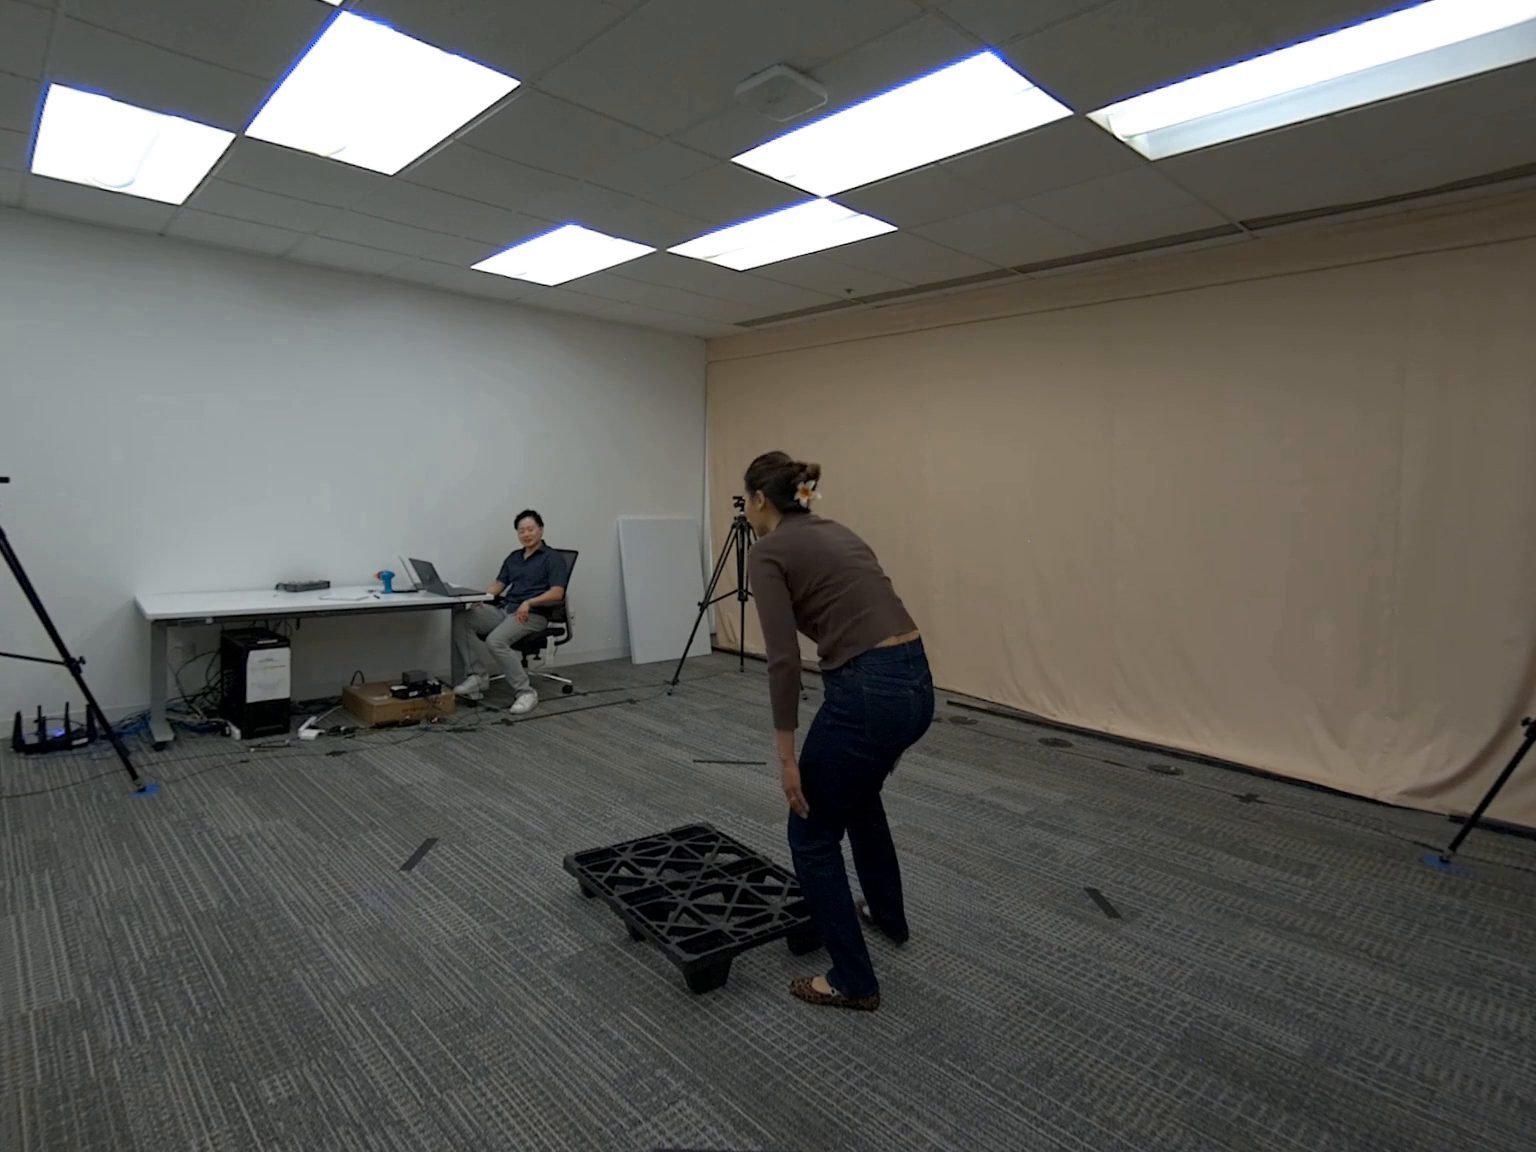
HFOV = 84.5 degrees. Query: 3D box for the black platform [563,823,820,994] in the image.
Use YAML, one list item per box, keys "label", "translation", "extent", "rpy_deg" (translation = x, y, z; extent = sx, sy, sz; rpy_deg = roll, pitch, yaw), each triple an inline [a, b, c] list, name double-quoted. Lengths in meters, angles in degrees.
- label: "black platform"
  translation: [-0.244, 1.066, 2.778]
  extent: [0.592, 0.143, 0.826]
  rpy_deg: [-2, 6, -37]
